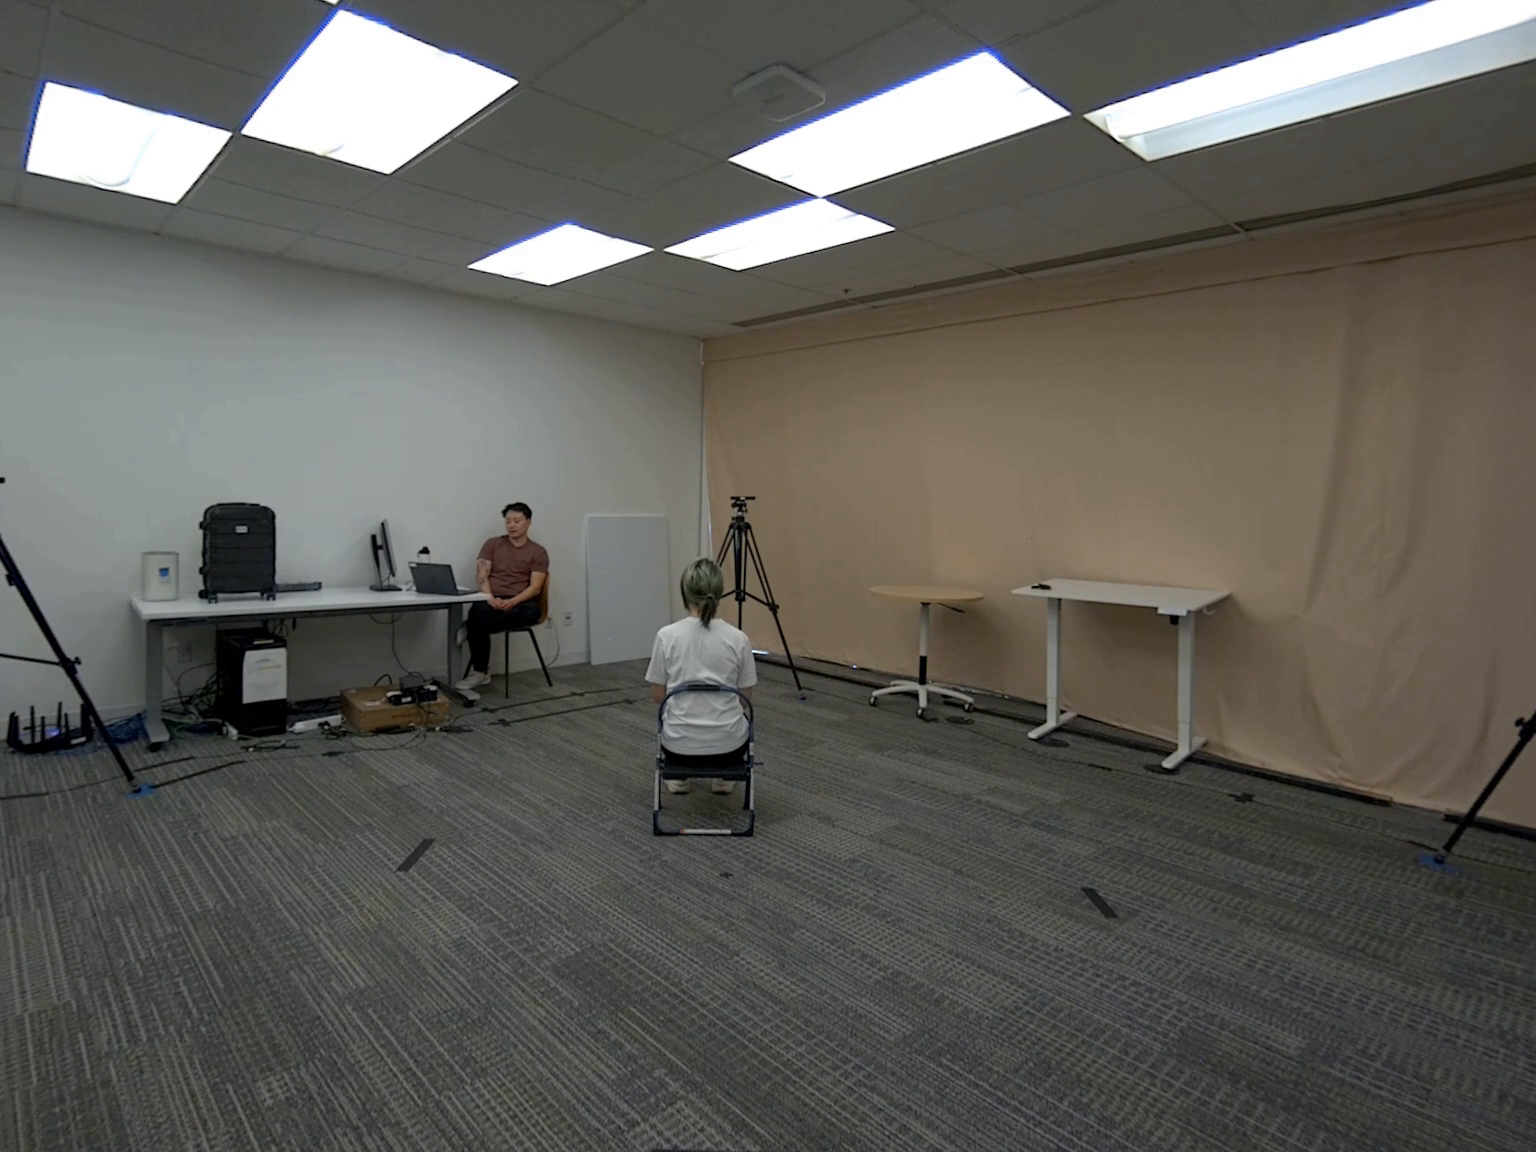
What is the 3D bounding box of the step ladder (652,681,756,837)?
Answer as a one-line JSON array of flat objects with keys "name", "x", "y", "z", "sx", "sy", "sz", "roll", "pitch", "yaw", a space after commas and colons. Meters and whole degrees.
[{"name": "step ladder", "x": -0.285, "y": 0.761, "z": 3.613, "sx": 0.429, "sy": 0.605, "sz": 0.351, "roll": 1, "pitch": 2, "yaw": -5}]
